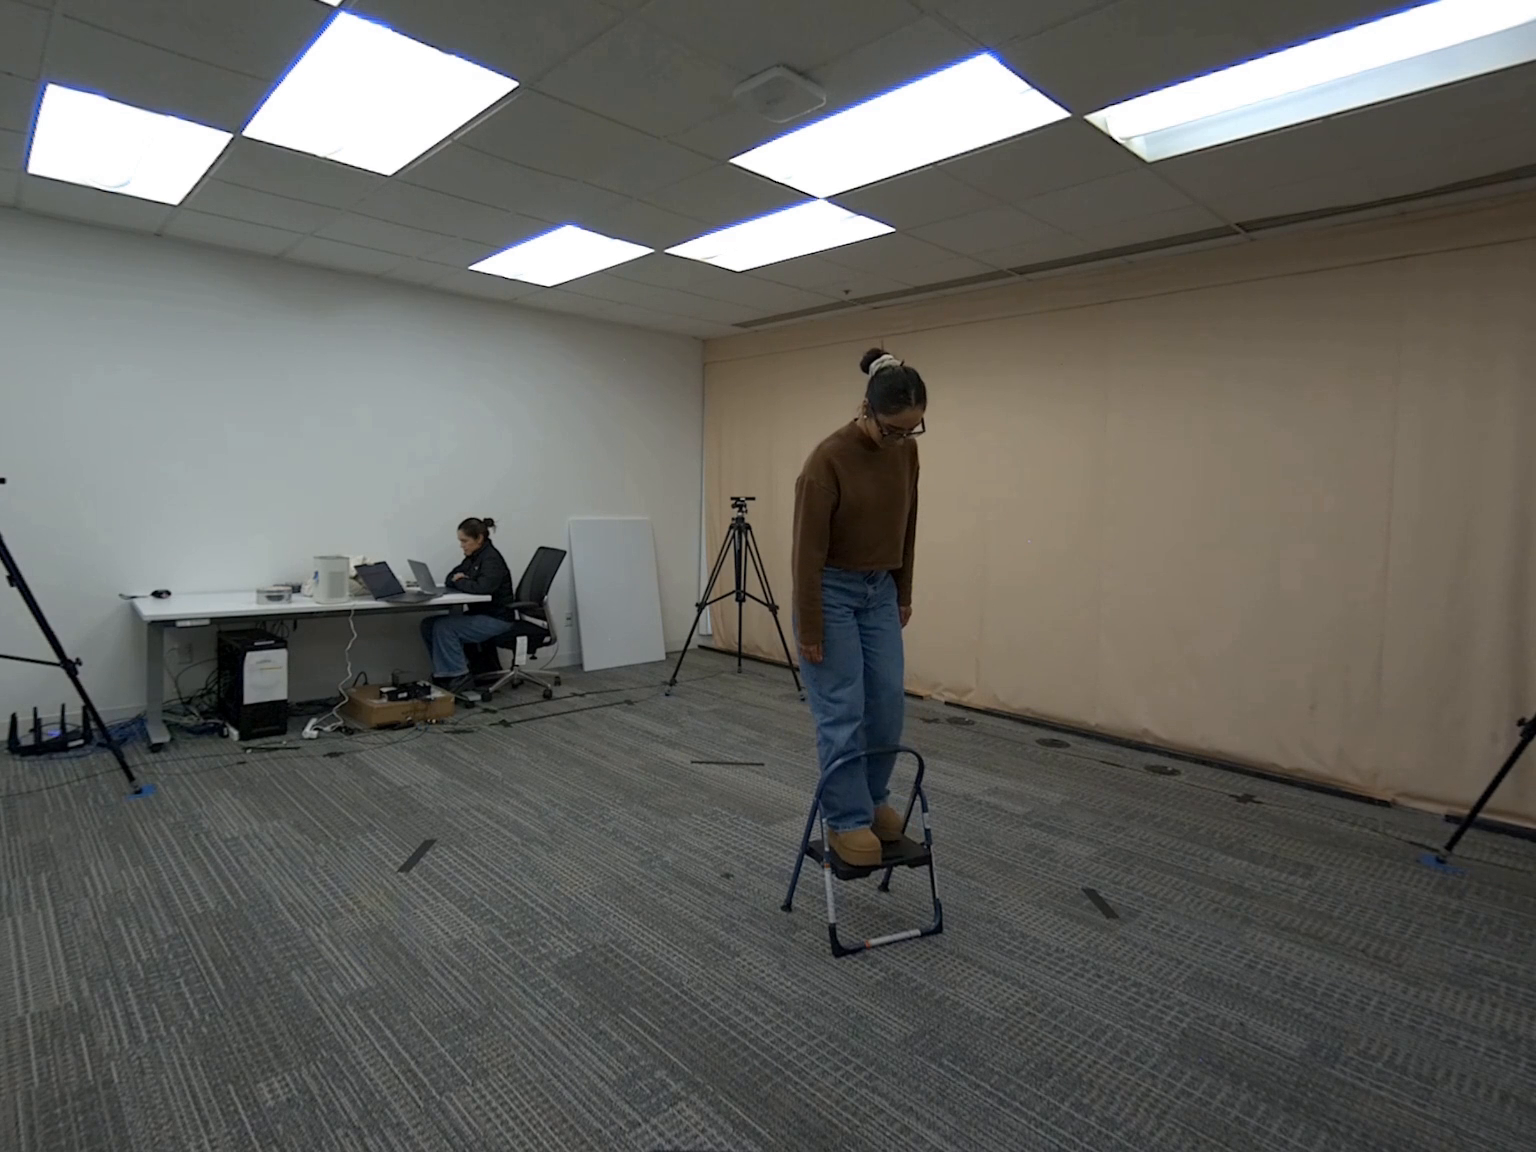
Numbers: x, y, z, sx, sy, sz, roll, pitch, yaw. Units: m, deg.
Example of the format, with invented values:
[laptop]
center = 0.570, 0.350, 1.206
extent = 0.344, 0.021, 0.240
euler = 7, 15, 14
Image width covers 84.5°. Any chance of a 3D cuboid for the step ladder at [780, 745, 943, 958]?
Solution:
[step ladder]
center = 0.316, 0.848, 2.780
extent = 0.422, 0.604, 0.357
euler = 0, 4, -27
